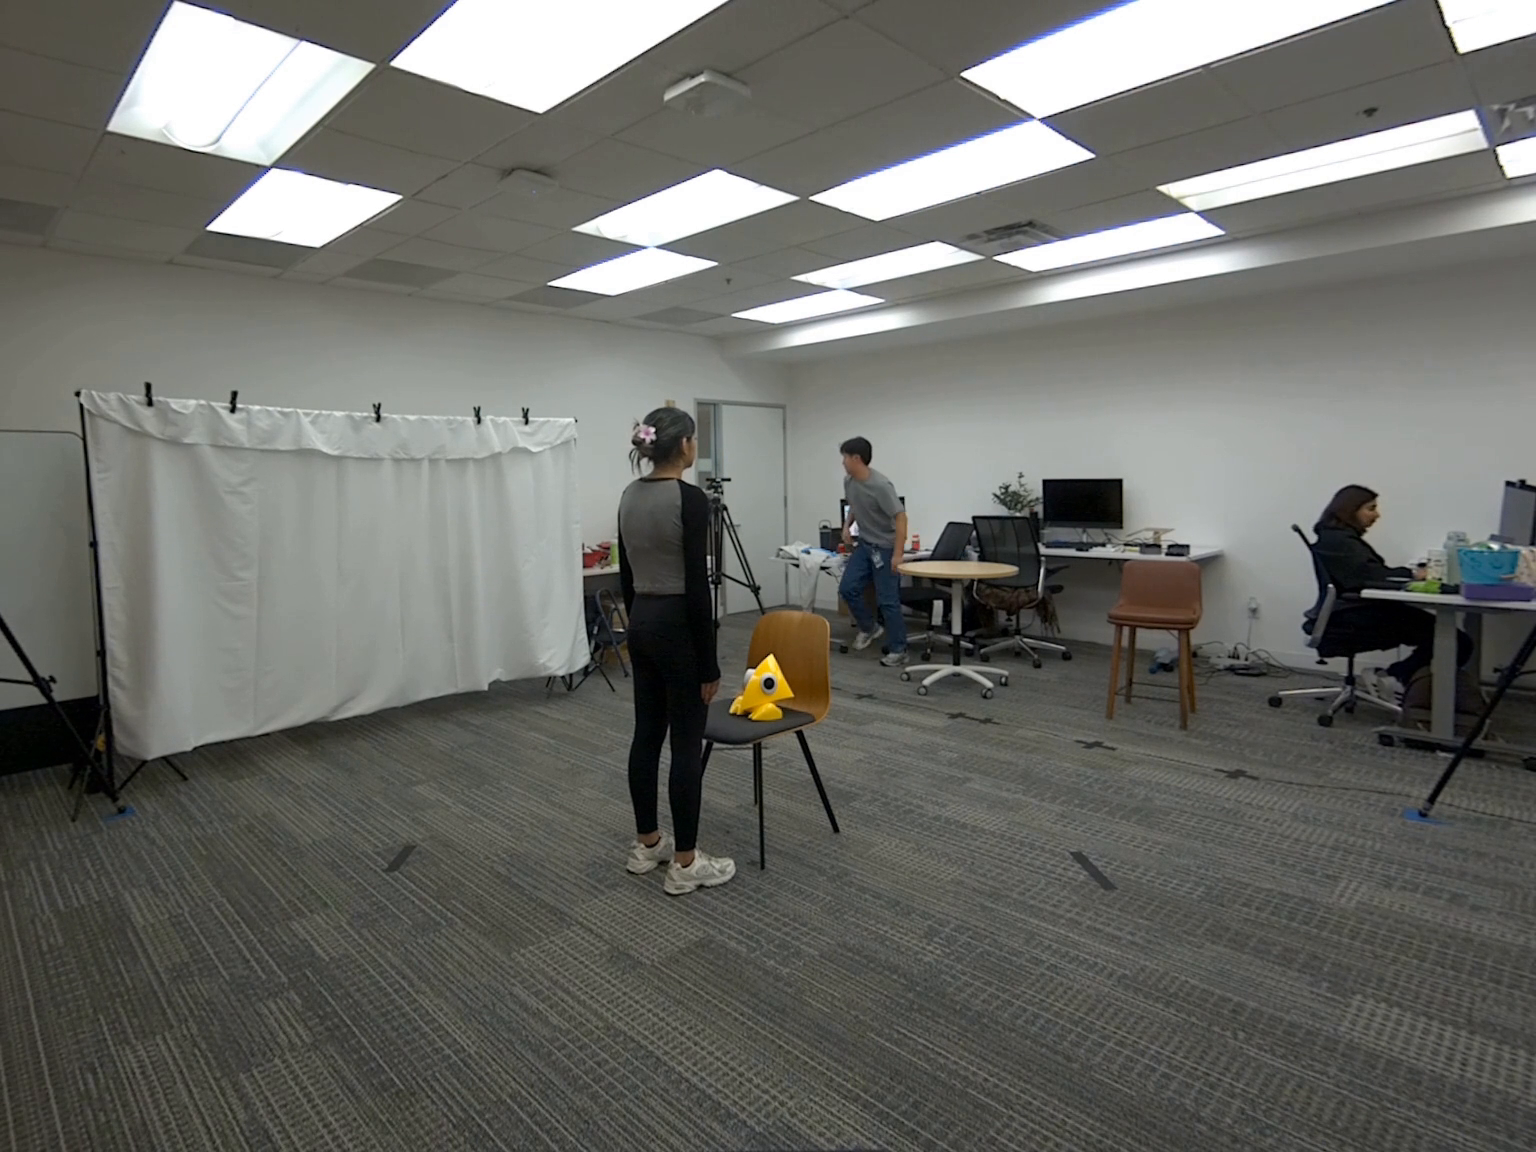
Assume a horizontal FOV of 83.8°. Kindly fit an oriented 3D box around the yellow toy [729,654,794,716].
[{"bbox_3d":[-0.038,0.430,3.335,0.187,0.230,0.211,1,3,-43],"label":"yellow toy"}]
